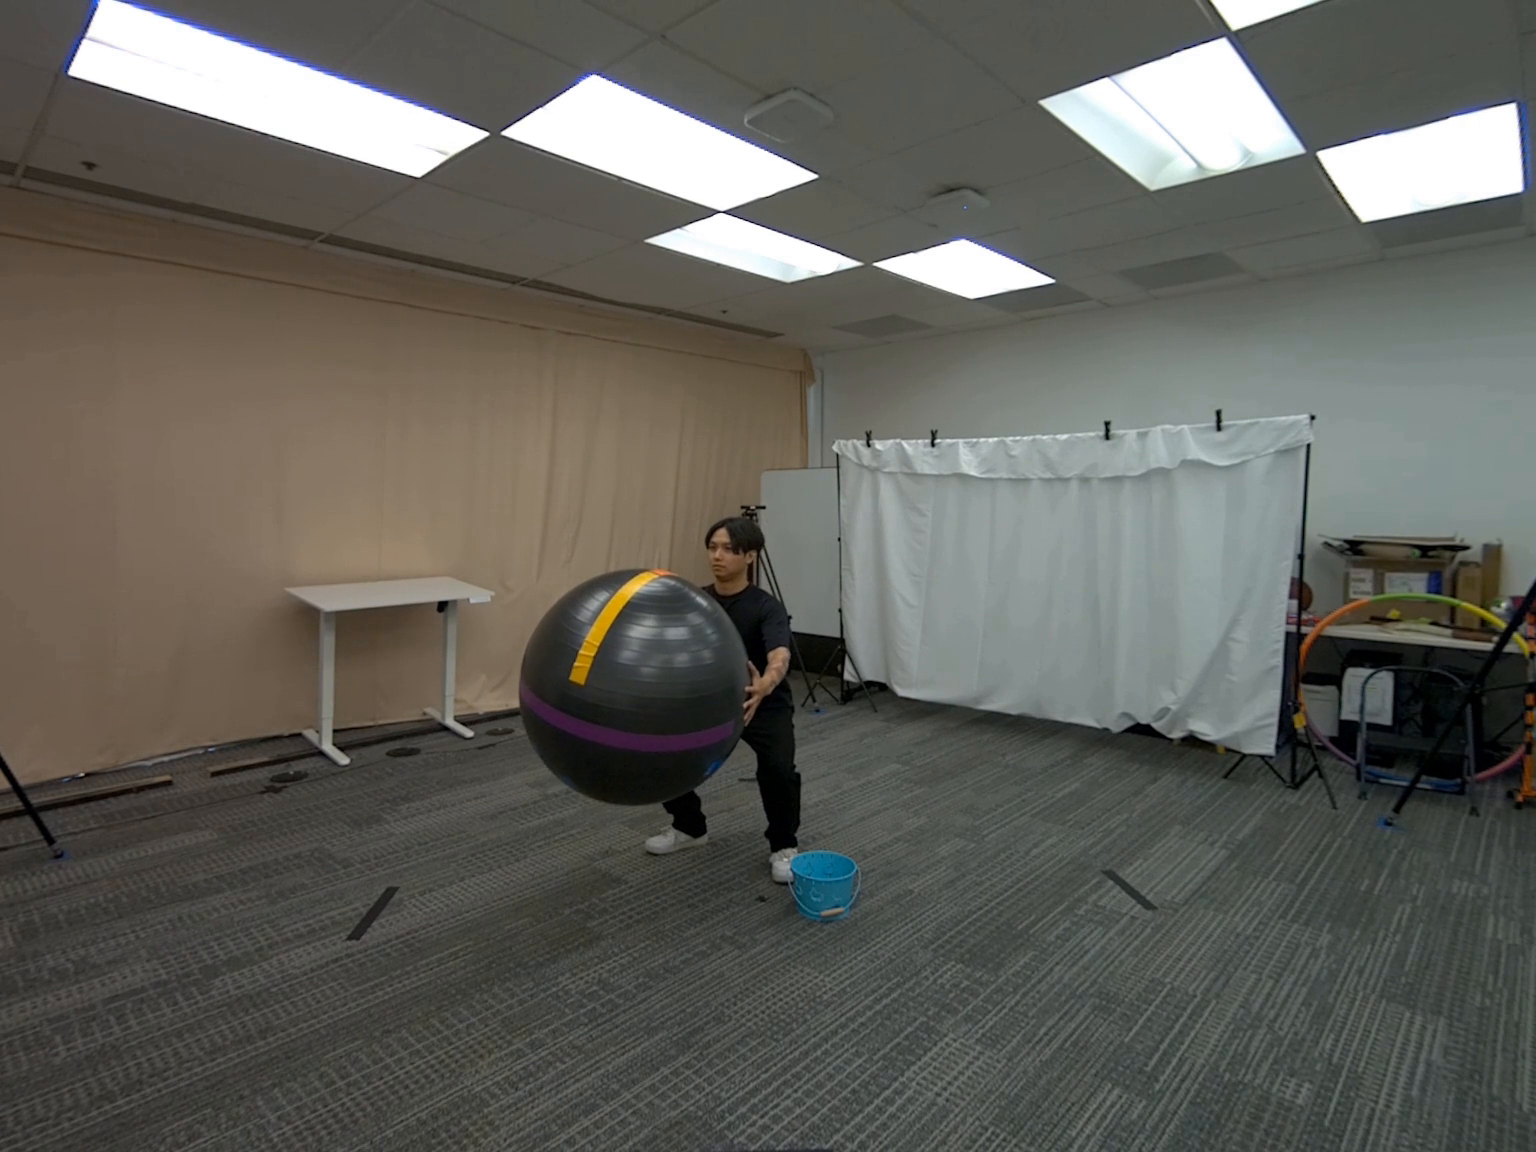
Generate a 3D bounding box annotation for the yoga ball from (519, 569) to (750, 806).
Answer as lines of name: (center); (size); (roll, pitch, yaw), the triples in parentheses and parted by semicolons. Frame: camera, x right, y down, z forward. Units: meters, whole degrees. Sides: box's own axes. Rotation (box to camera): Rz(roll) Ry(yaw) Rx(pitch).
yoga ball: (-0.442, 0.364, 2.750); (0.757, 0.756, 0.760); (0, 4, -2)
